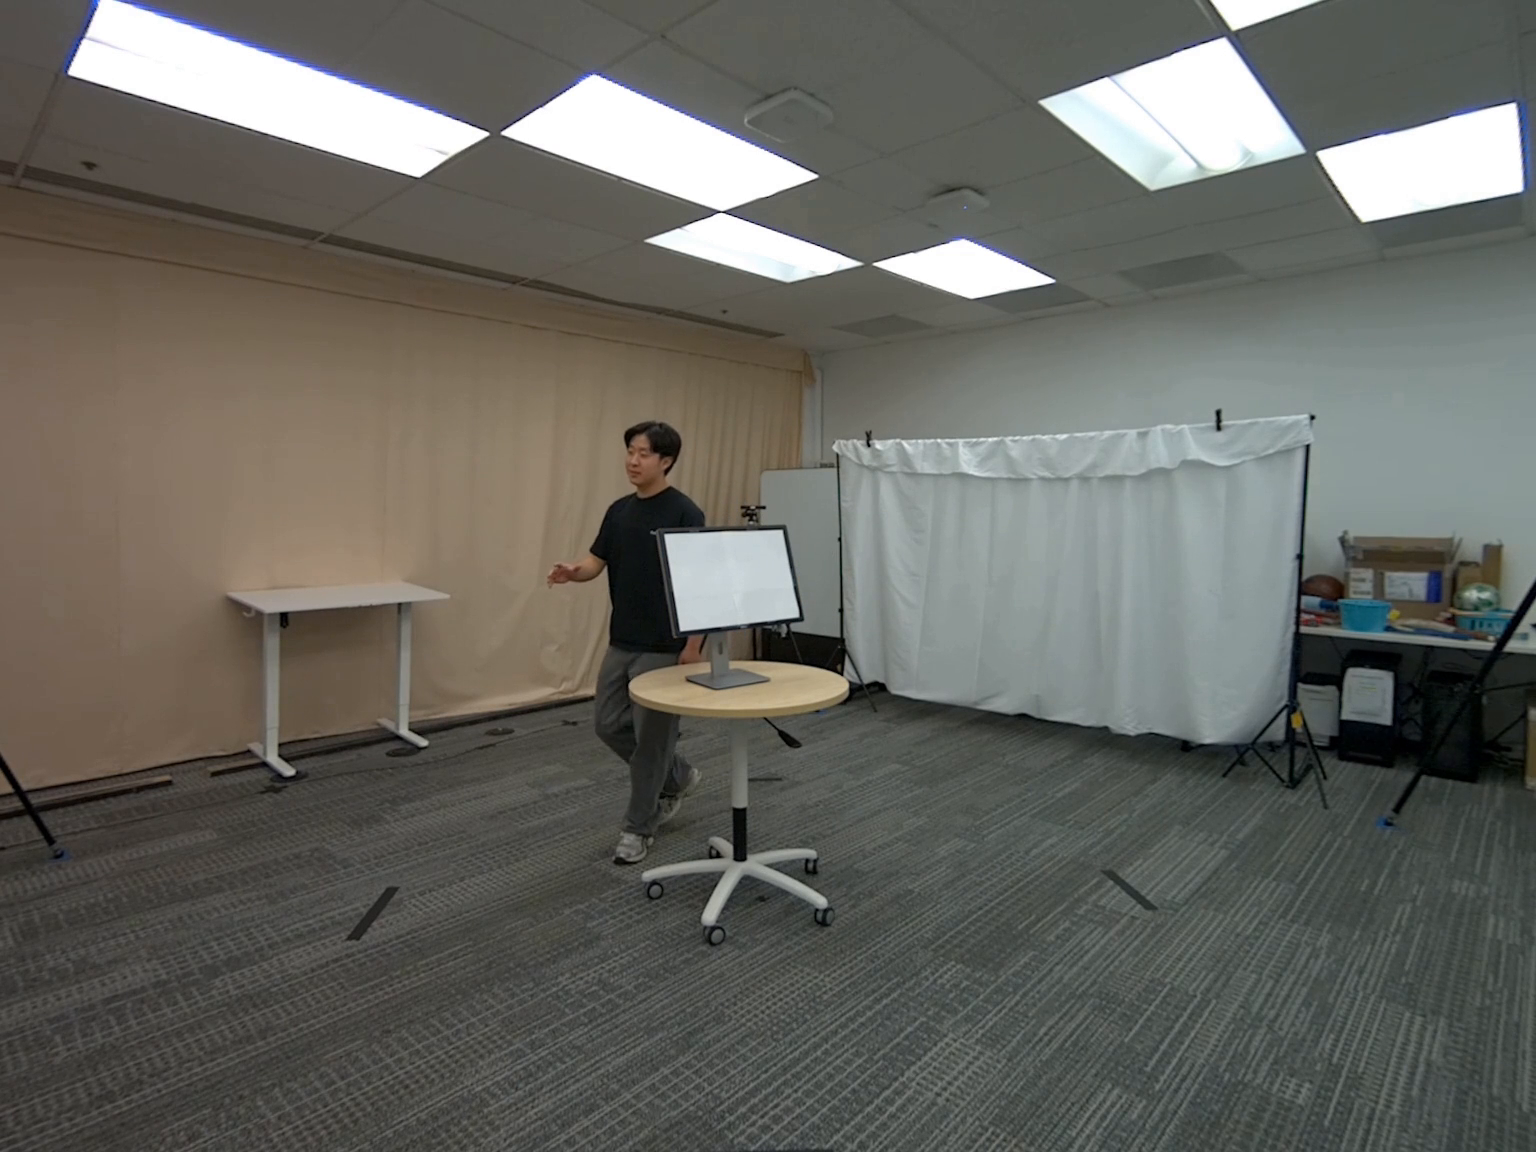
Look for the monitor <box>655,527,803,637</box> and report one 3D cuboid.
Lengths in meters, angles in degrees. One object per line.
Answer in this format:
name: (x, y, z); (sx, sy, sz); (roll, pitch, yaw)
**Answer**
monitor: (-0.140, 0.110, 2.956); (0.546, 0.564, 0.229); (-4, 6, -33)
